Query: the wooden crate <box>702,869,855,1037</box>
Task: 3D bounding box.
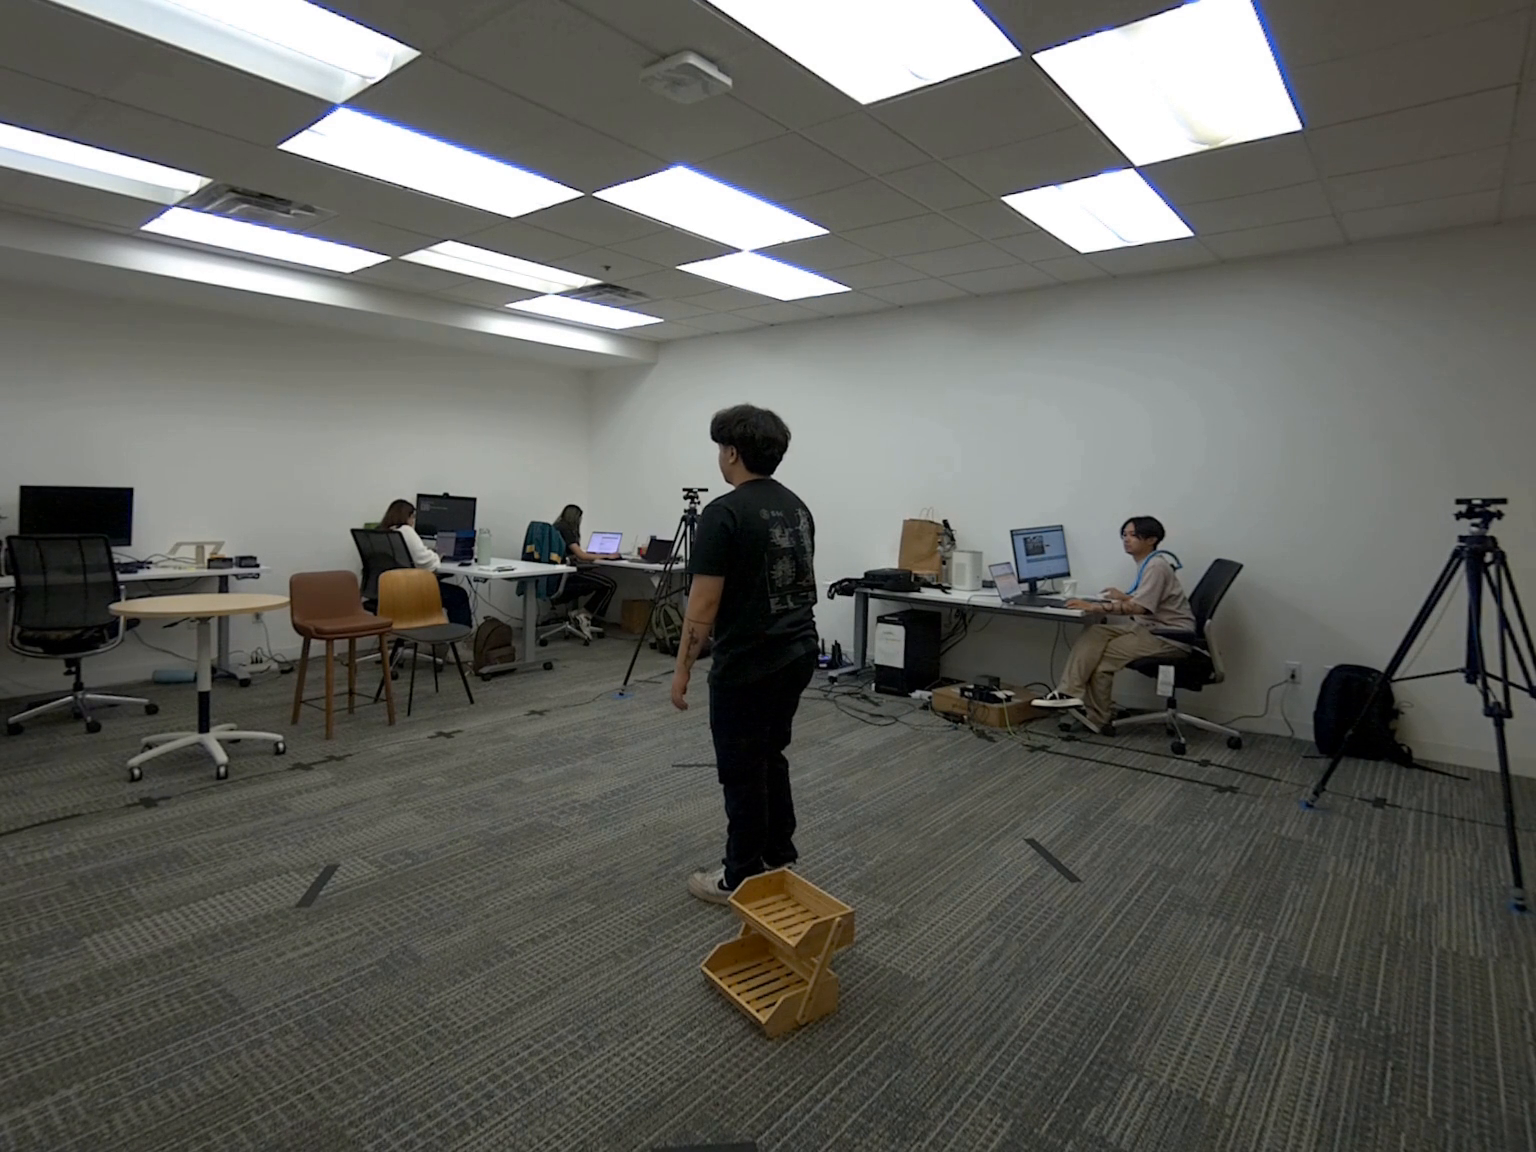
[{"bbox_3d":[0.014,1.016,2.355,0.293,0.272,0.335,-1,6,-36],"label":"wooden crate"}]
